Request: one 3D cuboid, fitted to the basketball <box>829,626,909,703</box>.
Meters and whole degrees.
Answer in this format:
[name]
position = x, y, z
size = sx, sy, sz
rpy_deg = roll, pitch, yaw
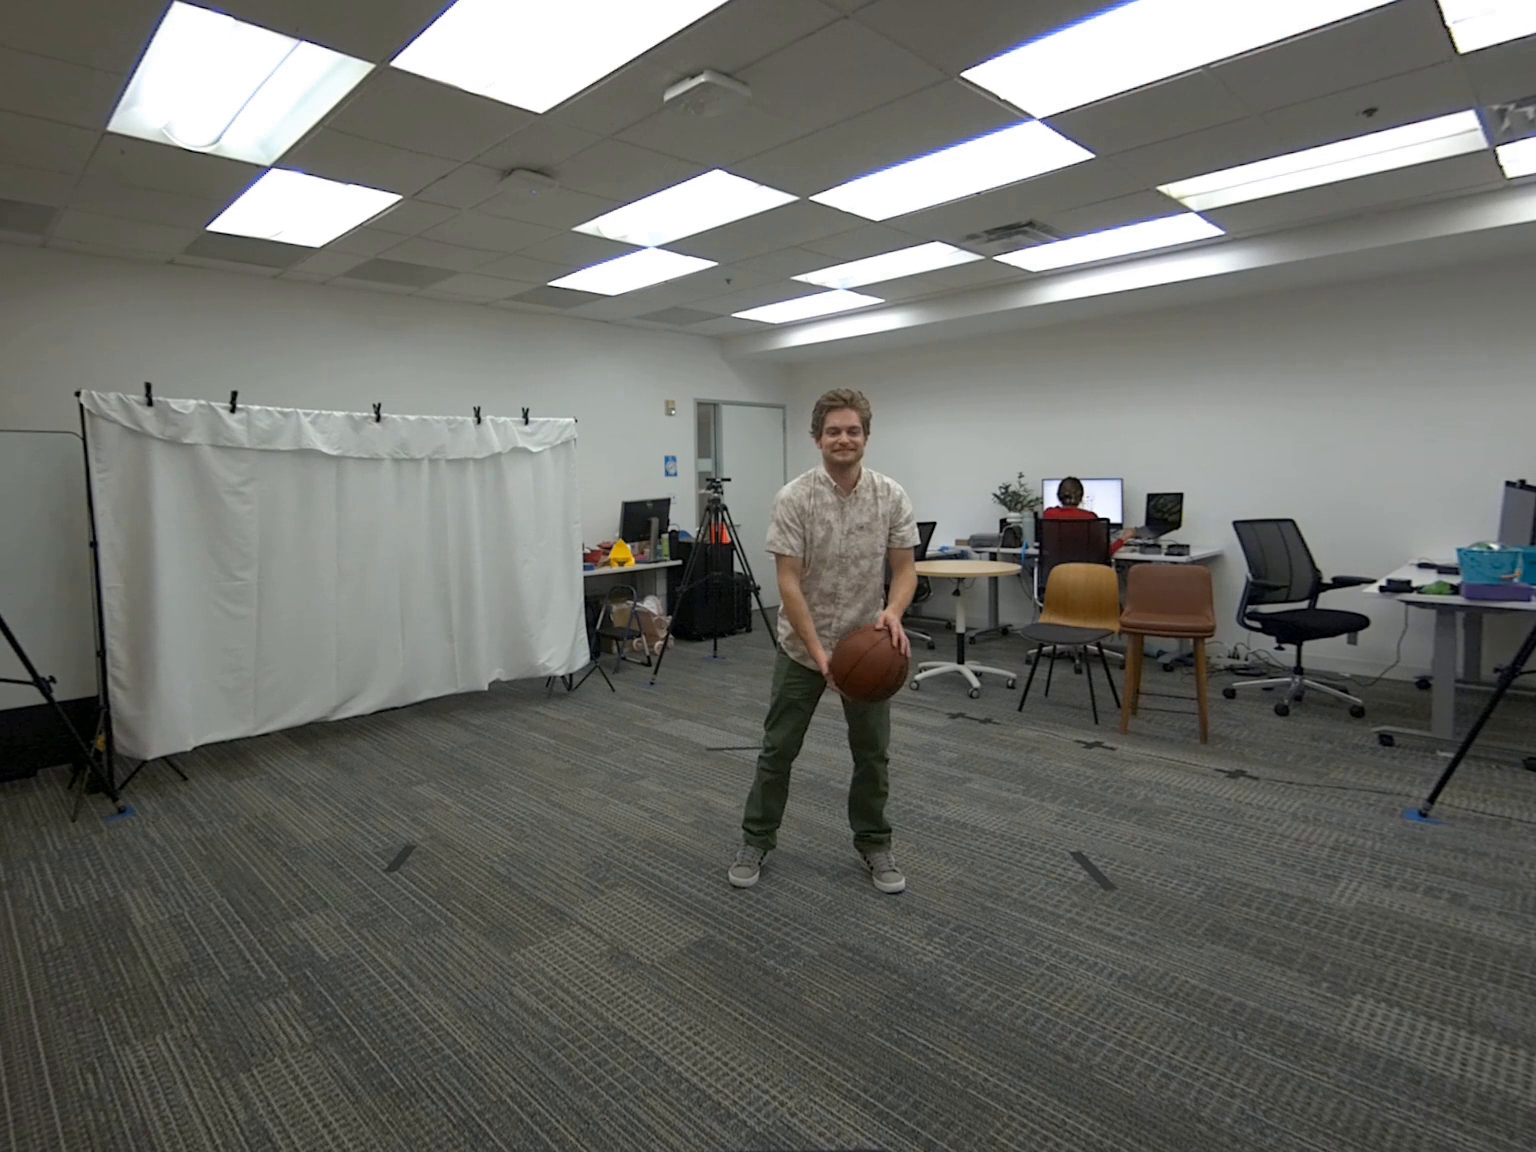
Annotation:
[basketball]
position = 0.317, 0.272, 2.662
size = 0.236, 0.235, 0.237
rpy_deg = -1, 5, -2
